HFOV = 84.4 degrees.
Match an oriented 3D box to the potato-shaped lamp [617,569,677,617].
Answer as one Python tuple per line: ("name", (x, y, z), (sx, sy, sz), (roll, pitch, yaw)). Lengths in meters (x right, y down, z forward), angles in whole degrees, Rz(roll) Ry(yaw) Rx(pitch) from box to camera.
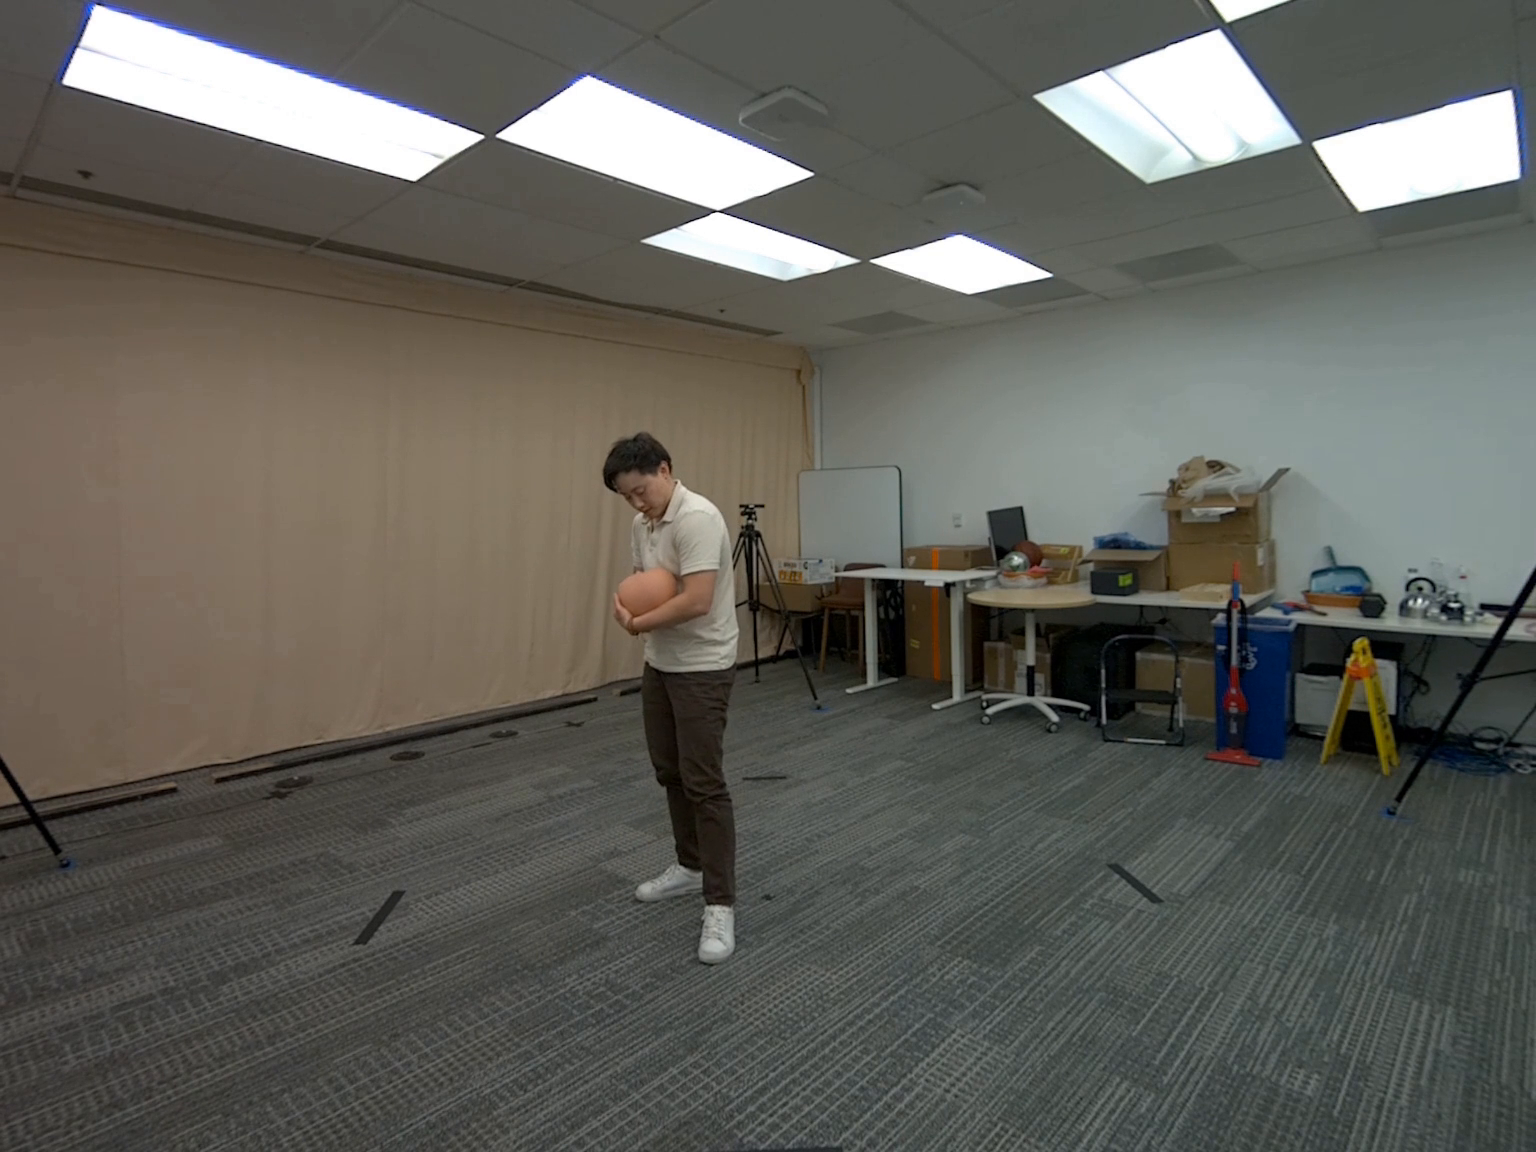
("potato-shaped lamp", (-0.383, 0.058, 2.777), (0.199, 0.160, 0.176), (-36, 32, 7))
